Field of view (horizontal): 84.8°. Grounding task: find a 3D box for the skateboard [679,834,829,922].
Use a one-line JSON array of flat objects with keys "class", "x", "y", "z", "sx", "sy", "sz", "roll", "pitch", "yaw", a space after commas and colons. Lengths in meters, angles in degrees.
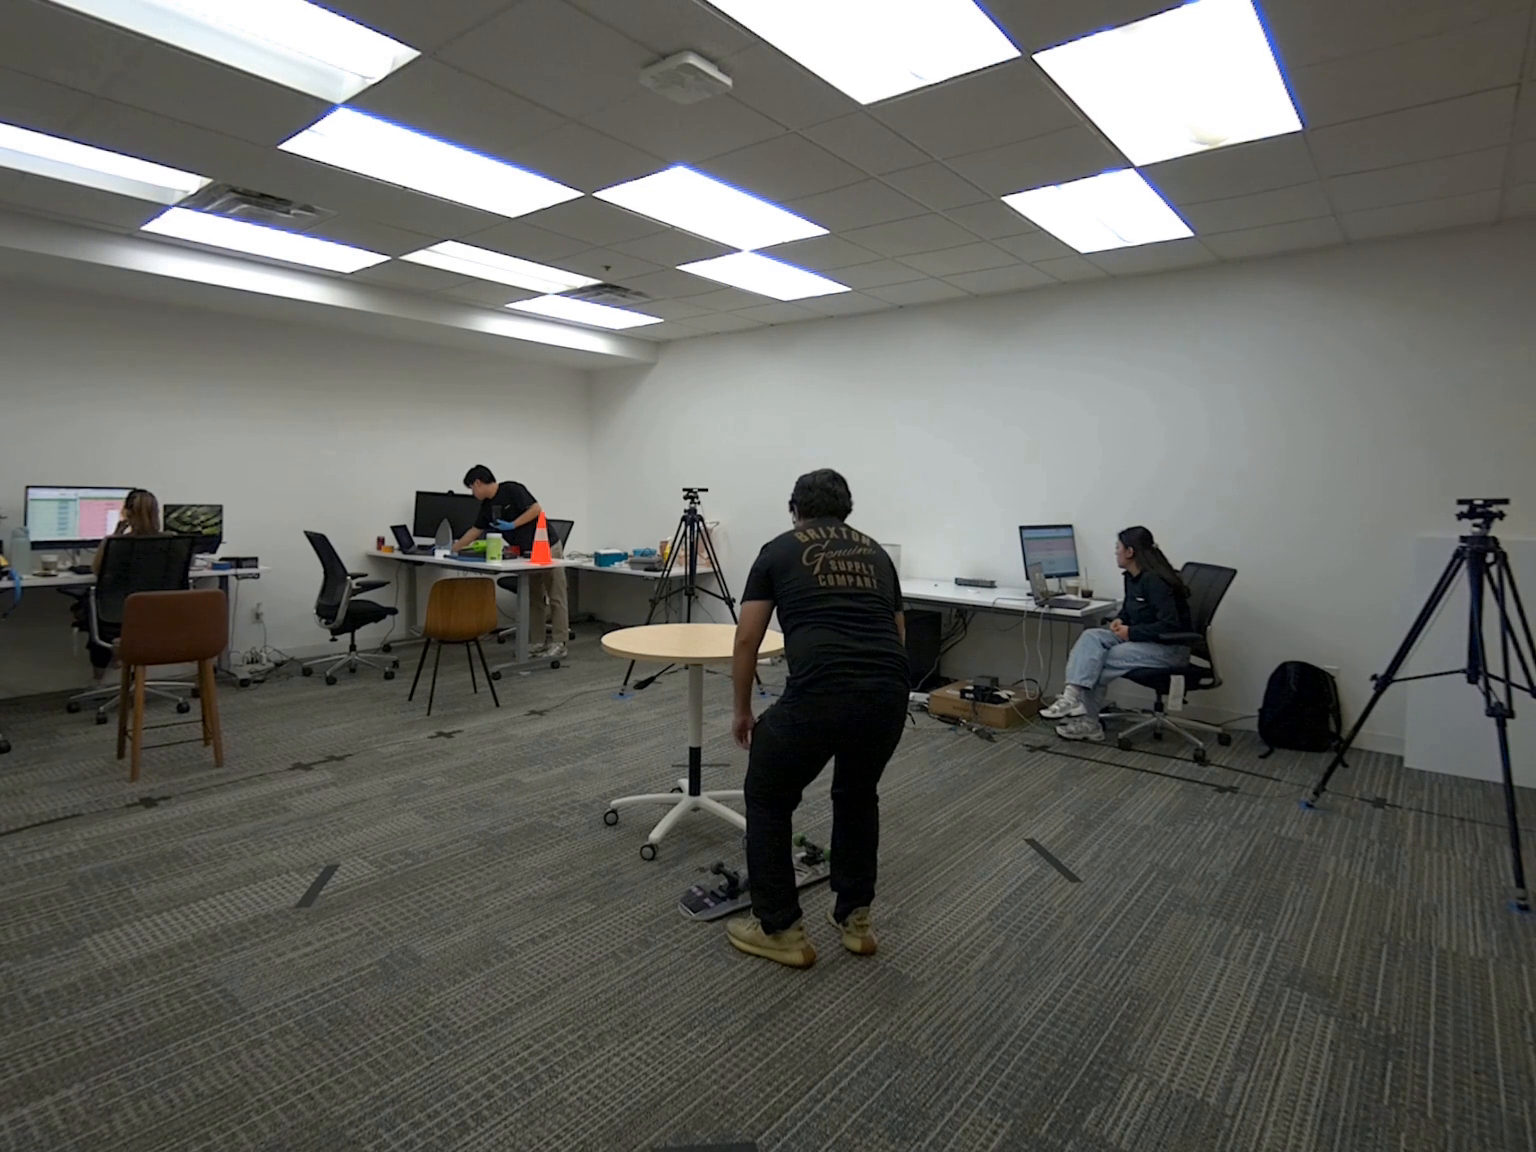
[{"class": "skateboard", "x": 0.016, "y": 1.035, "z": 3.007, "sx": 0.762, "sy": 0.110, "sz": 0.200, "roll": -3, "pitch": 8, "yaw": -40}]
